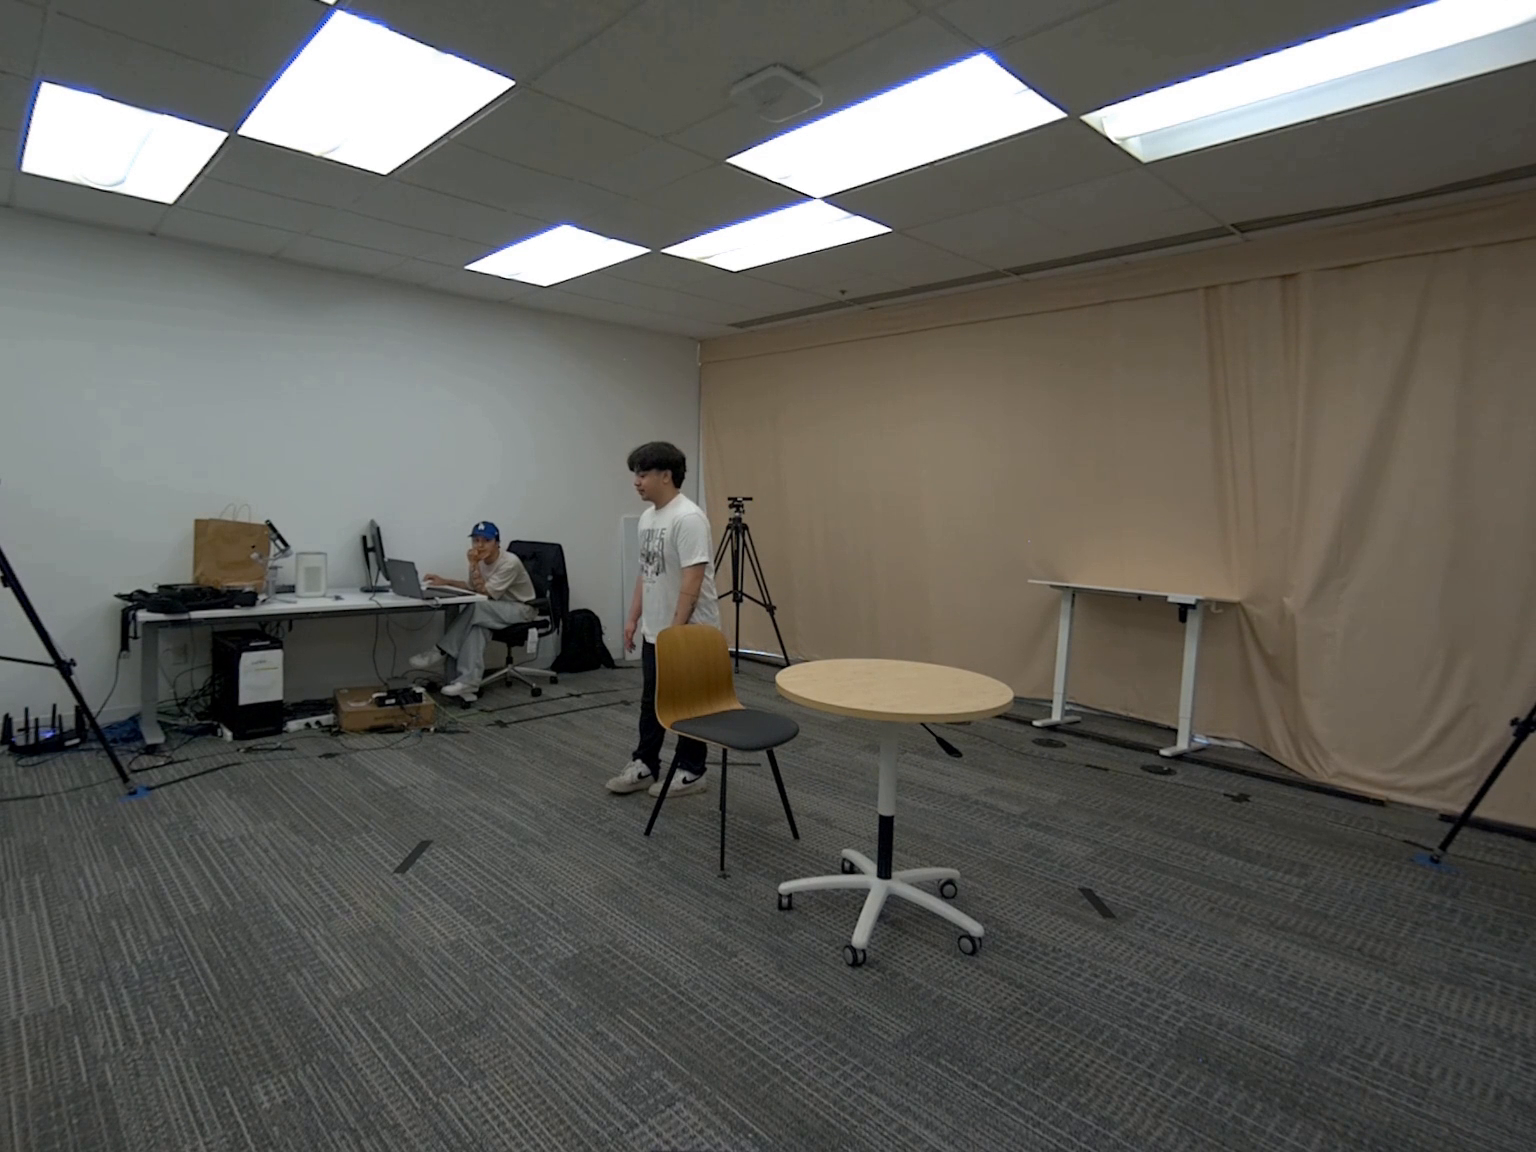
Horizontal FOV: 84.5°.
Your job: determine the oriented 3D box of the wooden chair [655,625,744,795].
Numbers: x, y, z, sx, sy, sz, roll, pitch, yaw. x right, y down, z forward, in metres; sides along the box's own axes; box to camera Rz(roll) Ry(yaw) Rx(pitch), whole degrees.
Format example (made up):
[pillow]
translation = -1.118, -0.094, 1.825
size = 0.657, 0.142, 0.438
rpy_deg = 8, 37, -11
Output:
[wooden chair]
translation = -0.177, 0.649, 3.427
size = 0.535, 0.878, 0.467
rpy_deg = -2, 0, 44
